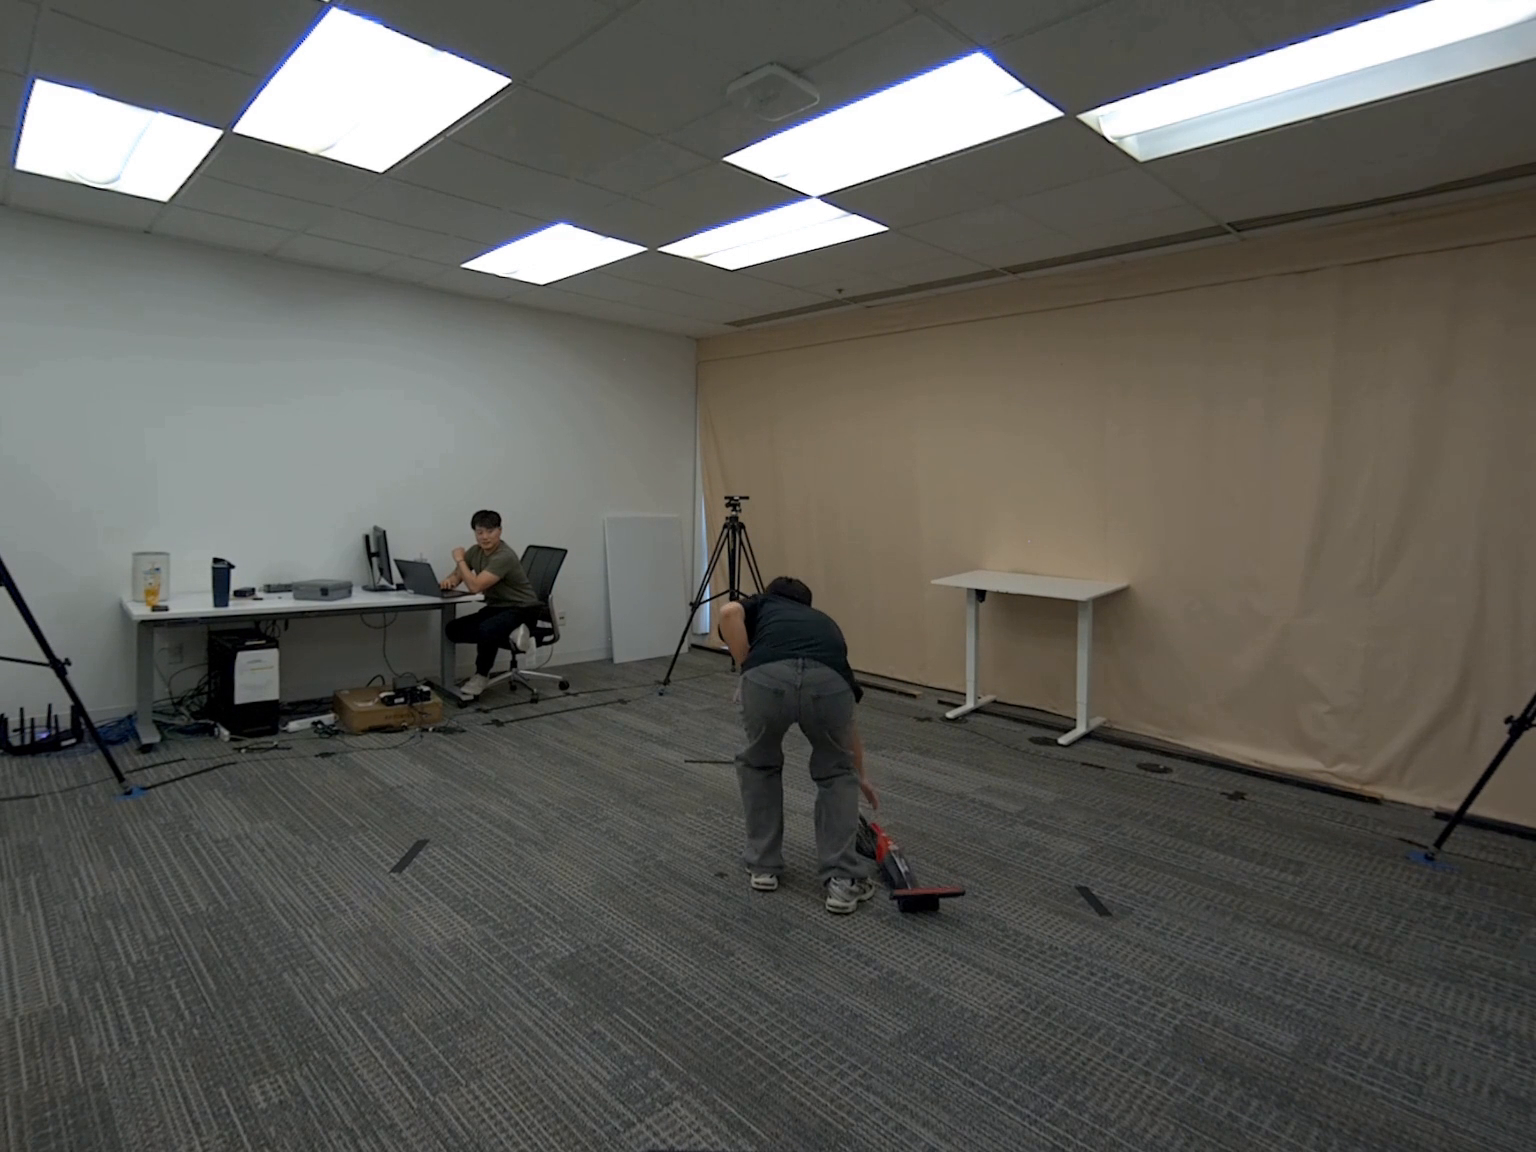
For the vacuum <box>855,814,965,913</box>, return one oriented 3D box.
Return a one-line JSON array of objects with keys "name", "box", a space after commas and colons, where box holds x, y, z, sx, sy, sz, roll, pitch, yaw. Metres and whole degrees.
[{"name": "vacuum", "box": [0.398, 1.019, 3.351, 0.250, 0.143, 1.062, 2, 5, -12]}]
